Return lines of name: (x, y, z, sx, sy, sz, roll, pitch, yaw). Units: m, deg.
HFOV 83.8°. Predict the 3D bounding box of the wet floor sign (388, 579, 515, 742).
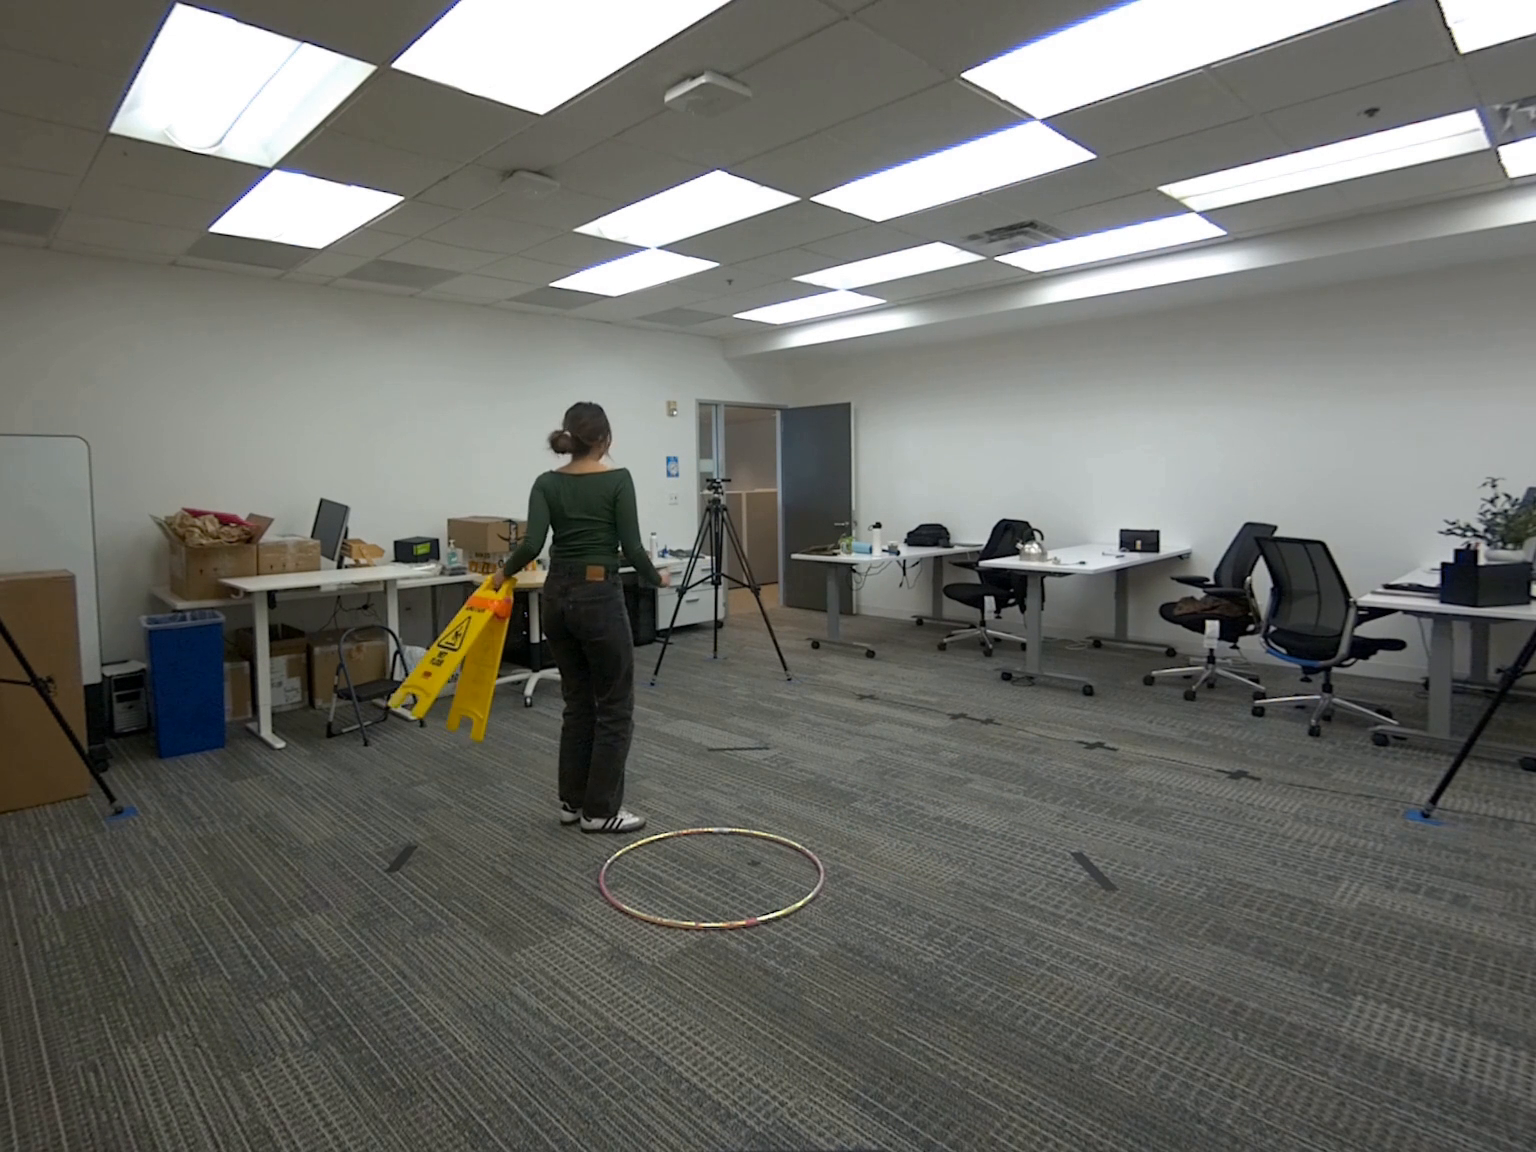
wet floor sign: (-1.180, 0.285, 3.452, 0.291, 0.651, 0.278, 4, -23, 43)
